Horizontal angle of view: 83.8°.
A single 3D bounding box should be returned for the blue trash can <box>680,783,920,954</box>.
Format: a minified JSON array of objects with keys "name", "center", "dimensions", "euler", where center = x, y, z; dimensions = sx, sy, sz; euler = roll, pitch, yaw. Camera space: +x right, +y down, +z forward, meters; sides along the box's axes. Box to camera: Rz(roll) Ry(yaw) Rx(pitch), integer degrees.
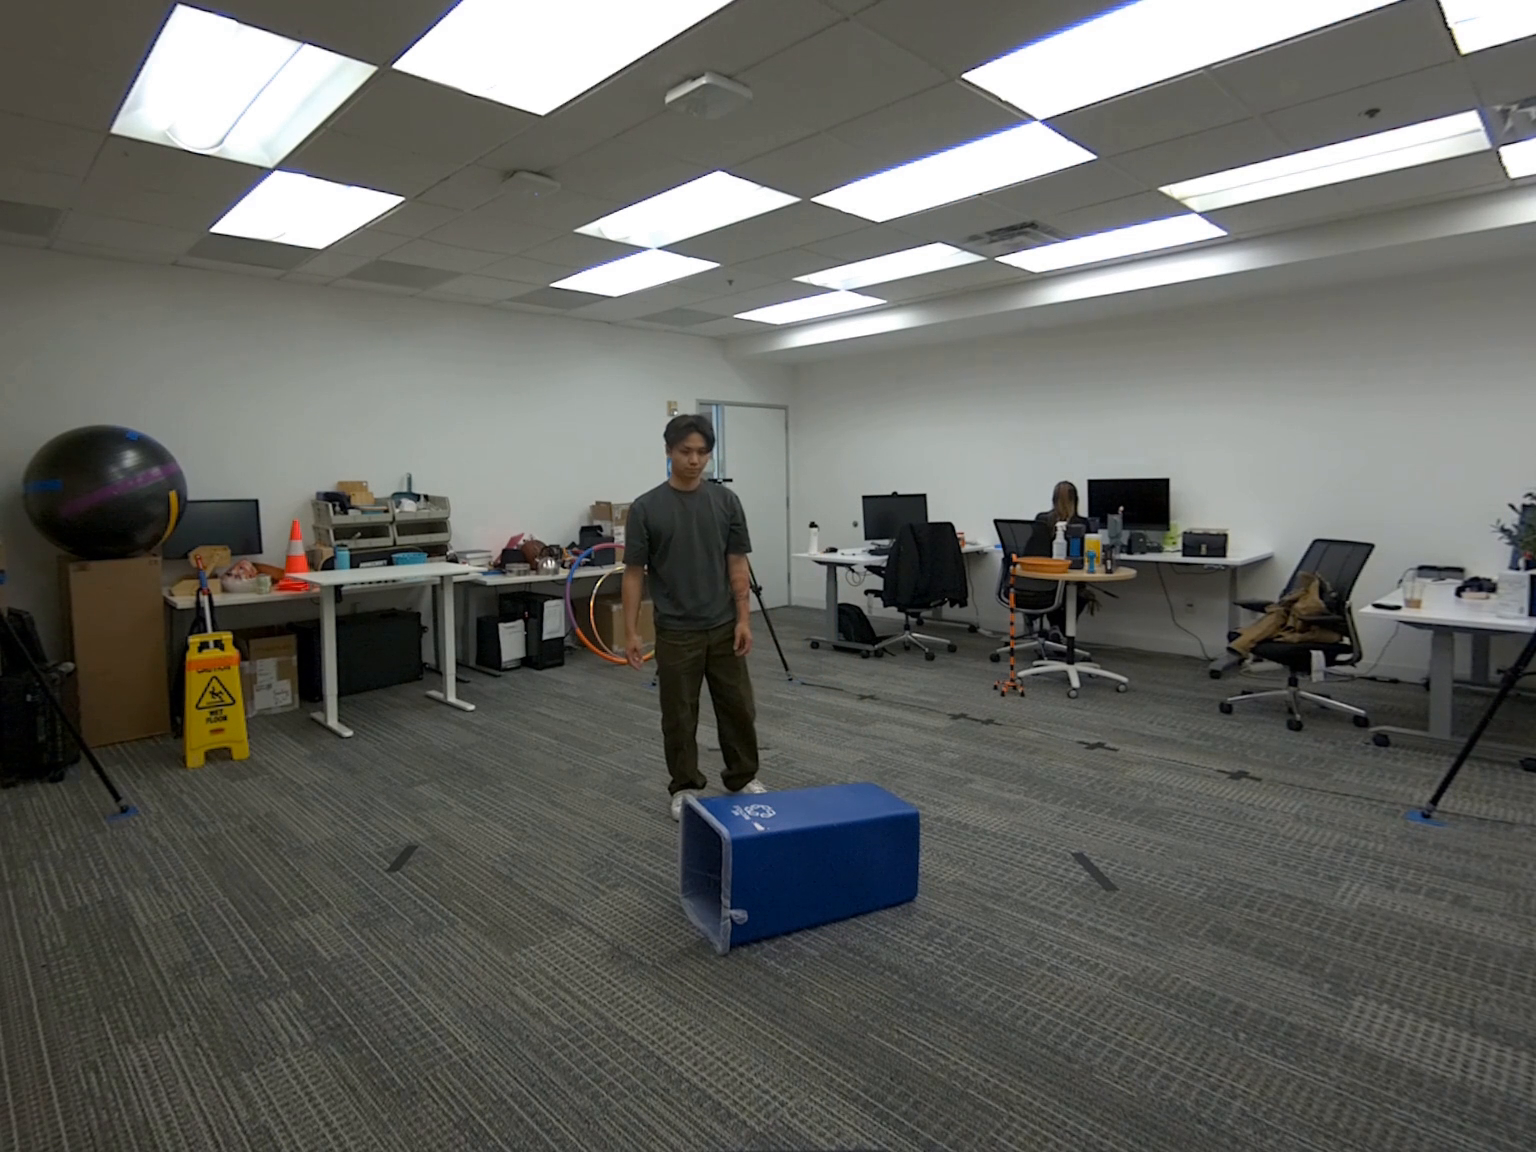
[{"name":"blue trash can","center":[0.115,0.913,2.791],"dimensions":[0.698,0.373,0.387],"euler":[-1,4,-24]}]
